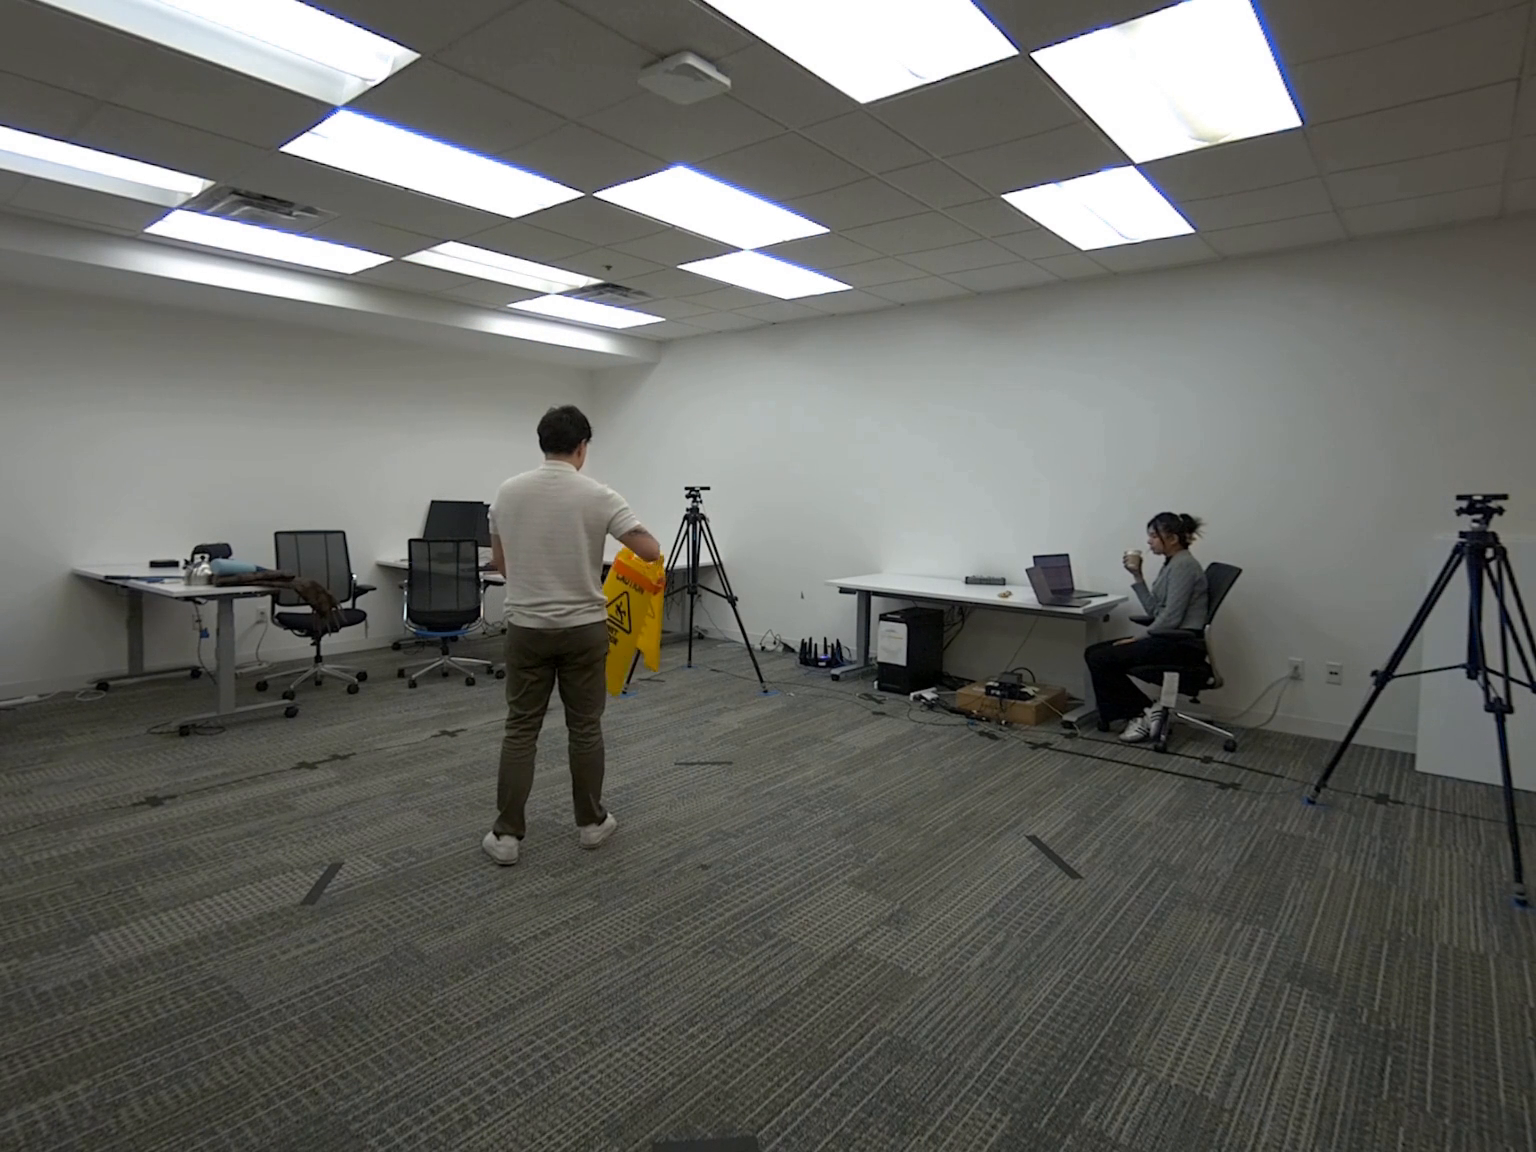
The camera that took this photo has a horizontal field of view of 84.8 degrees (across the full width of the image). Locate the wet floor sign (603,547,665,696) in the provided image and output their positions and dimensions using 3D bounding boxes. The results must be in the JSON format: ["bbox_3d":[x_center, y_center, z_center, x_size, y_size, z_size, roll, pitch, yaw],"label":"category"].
[{"bbox_3d":[-0.615,0.138,3.640,0.291,0.636,0.285,28,28,22],"label":"wet floor sign"}]
